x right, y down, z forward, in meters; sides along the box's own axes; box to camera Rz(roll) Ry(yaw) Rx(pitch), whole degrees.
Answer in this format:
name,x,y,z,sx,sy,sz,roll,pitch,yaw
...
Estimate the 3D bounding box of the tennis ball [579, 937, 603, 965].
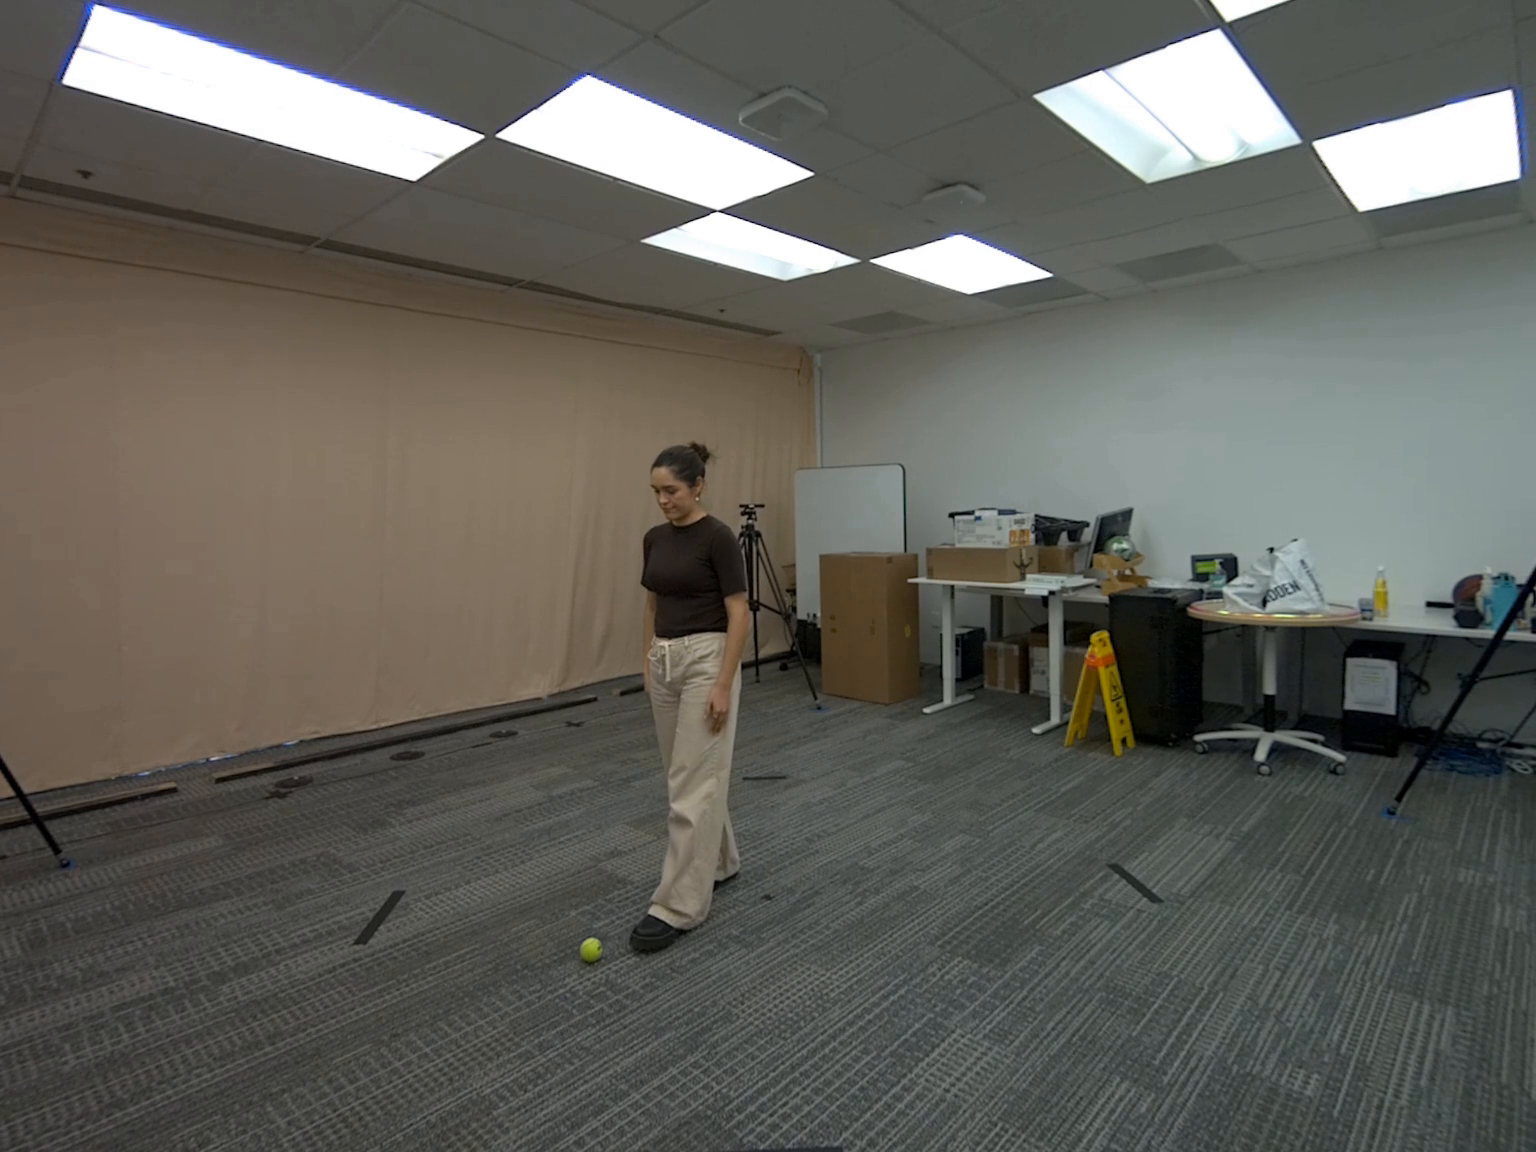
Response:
name,x,y,z,sx,sy,sz,roll,pitch,yaw
tennis ball,-0.538,1.140,2.584,0.066,0.066,0.067,-1,4,-2
